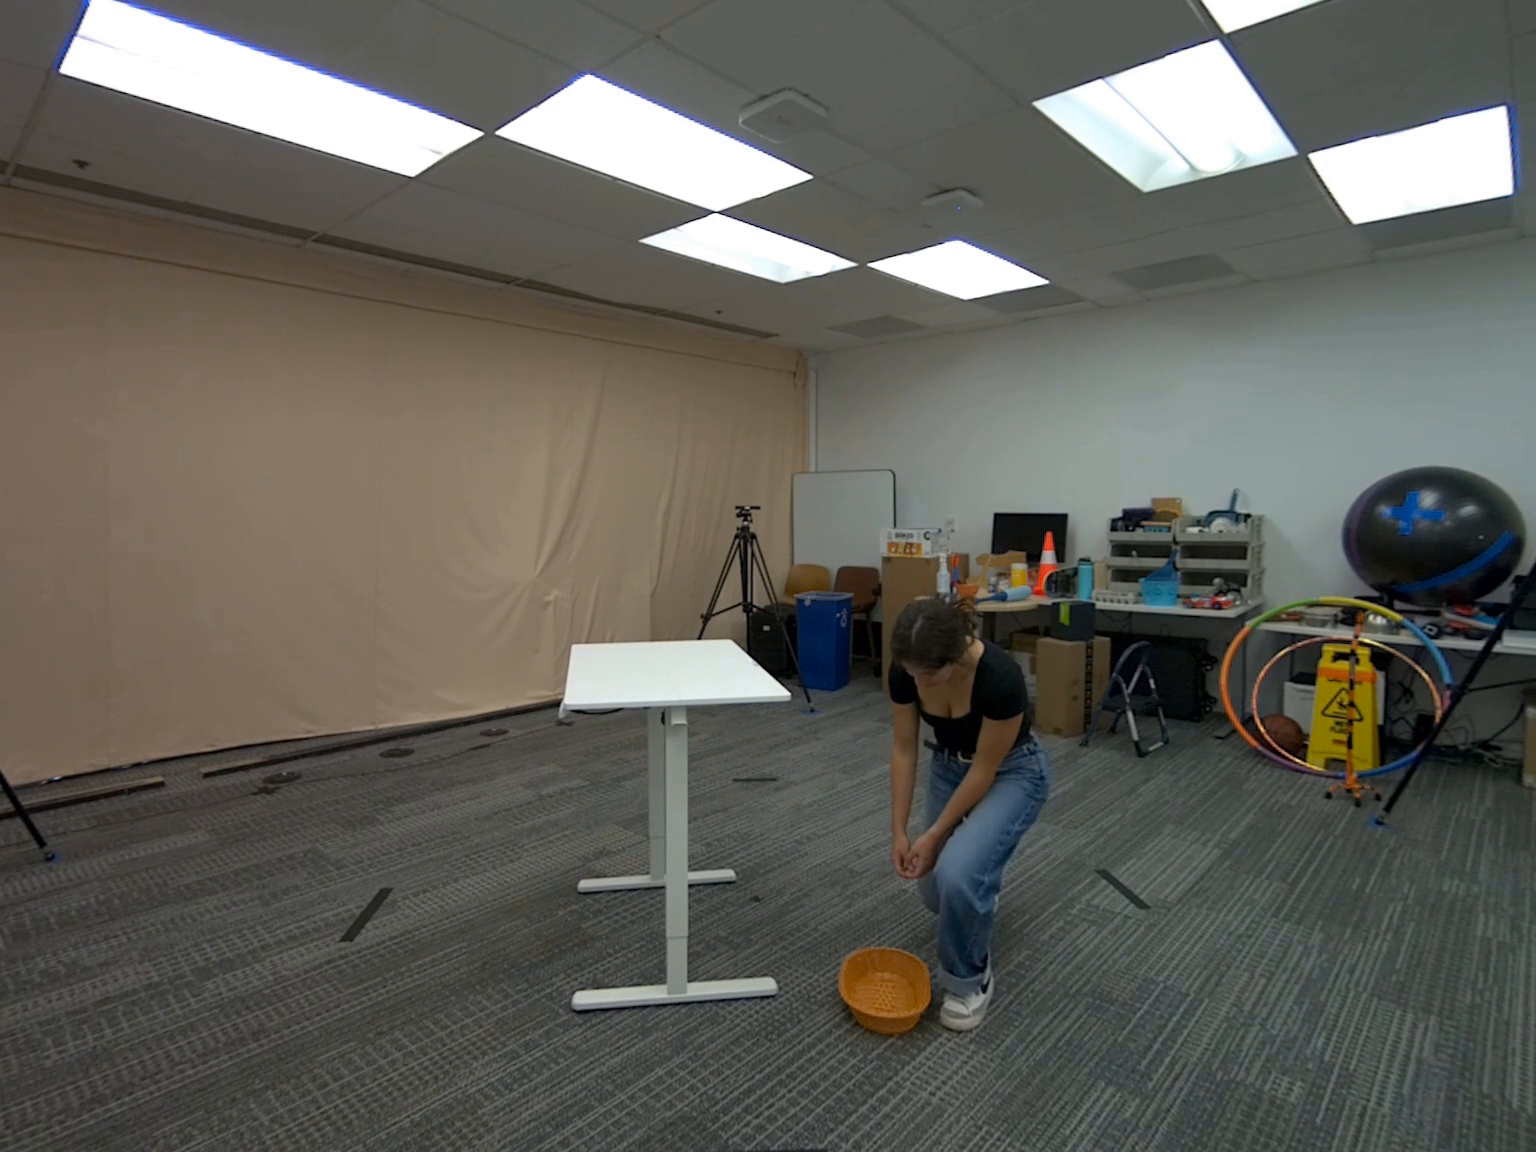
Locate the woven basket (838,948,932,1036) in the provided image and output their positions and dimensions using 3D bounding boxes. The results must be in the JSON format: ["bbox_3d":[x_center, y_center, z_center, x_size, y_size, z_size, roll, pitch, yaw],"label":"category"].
[{"bbox_3d":[0.328,1.154,2.359,0.256,0.073,0.346,0,5,12],"label":"woven basket"}]
